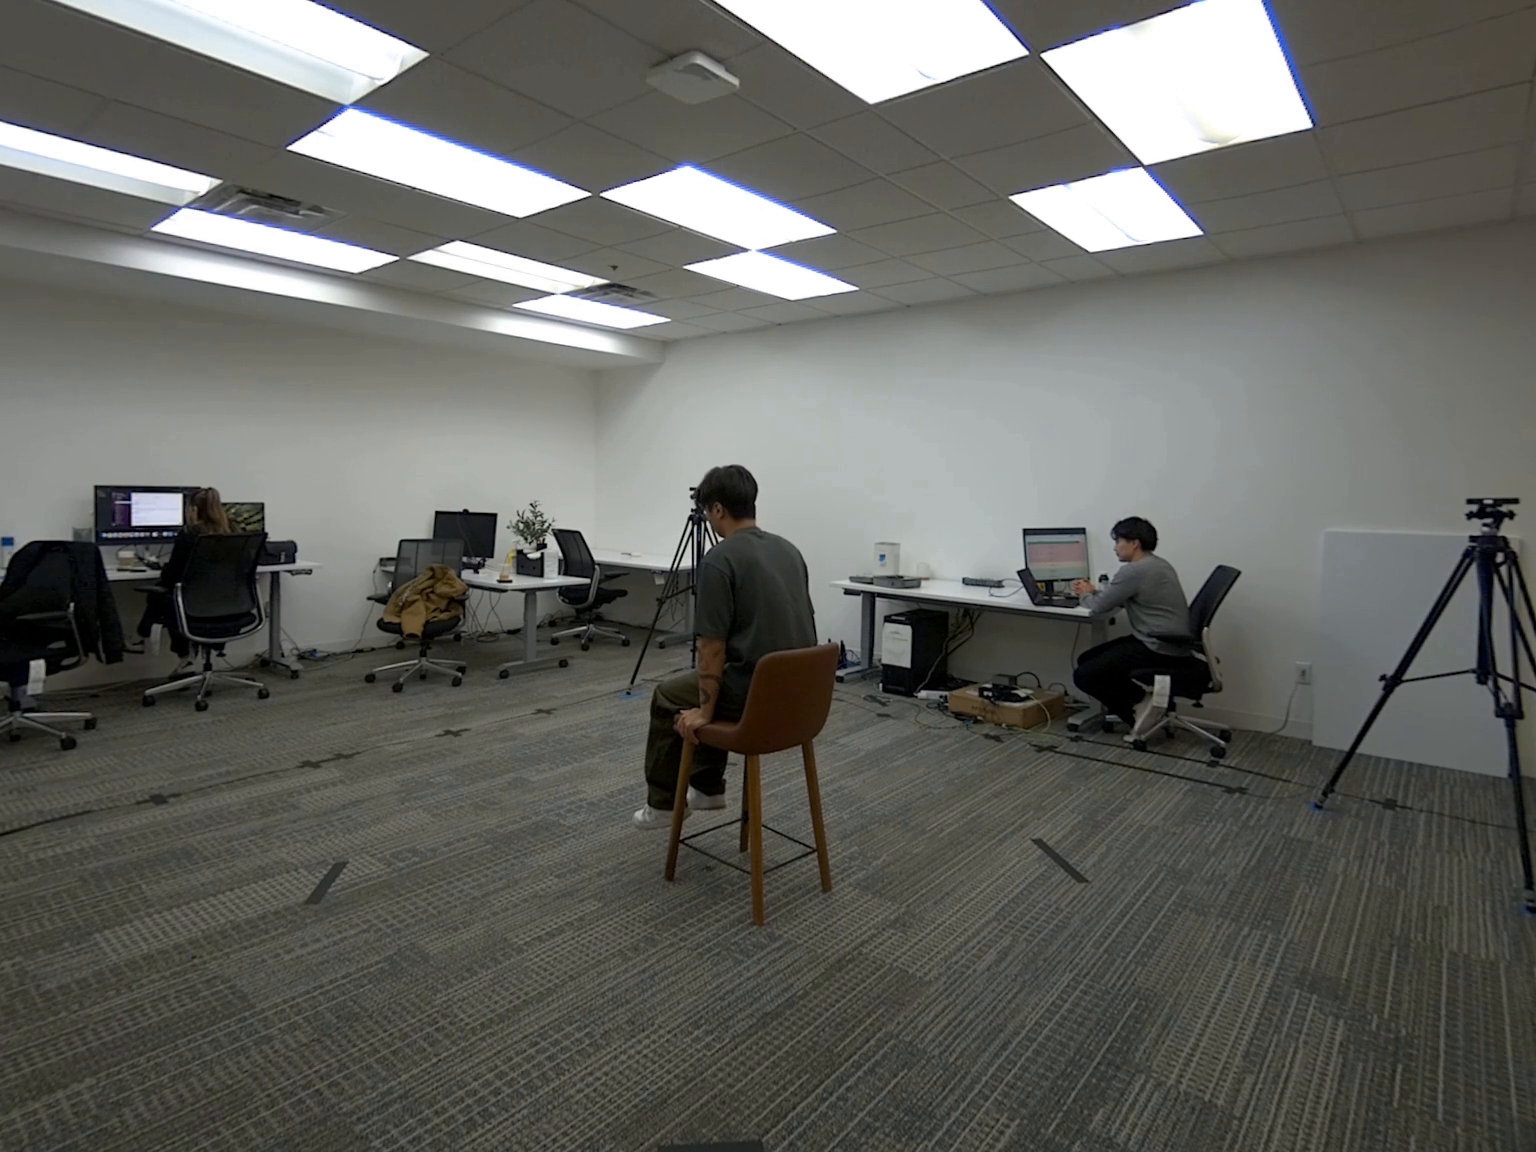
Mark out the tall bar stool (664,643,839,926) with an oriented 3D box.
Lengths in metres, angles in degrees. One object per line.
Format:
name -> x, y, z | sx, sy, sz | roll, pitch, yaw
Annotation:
tall bar stool -> -0.051, 0.648, 2.958 | 0.484, 0.886, 0.442 | 7, 6, 44
